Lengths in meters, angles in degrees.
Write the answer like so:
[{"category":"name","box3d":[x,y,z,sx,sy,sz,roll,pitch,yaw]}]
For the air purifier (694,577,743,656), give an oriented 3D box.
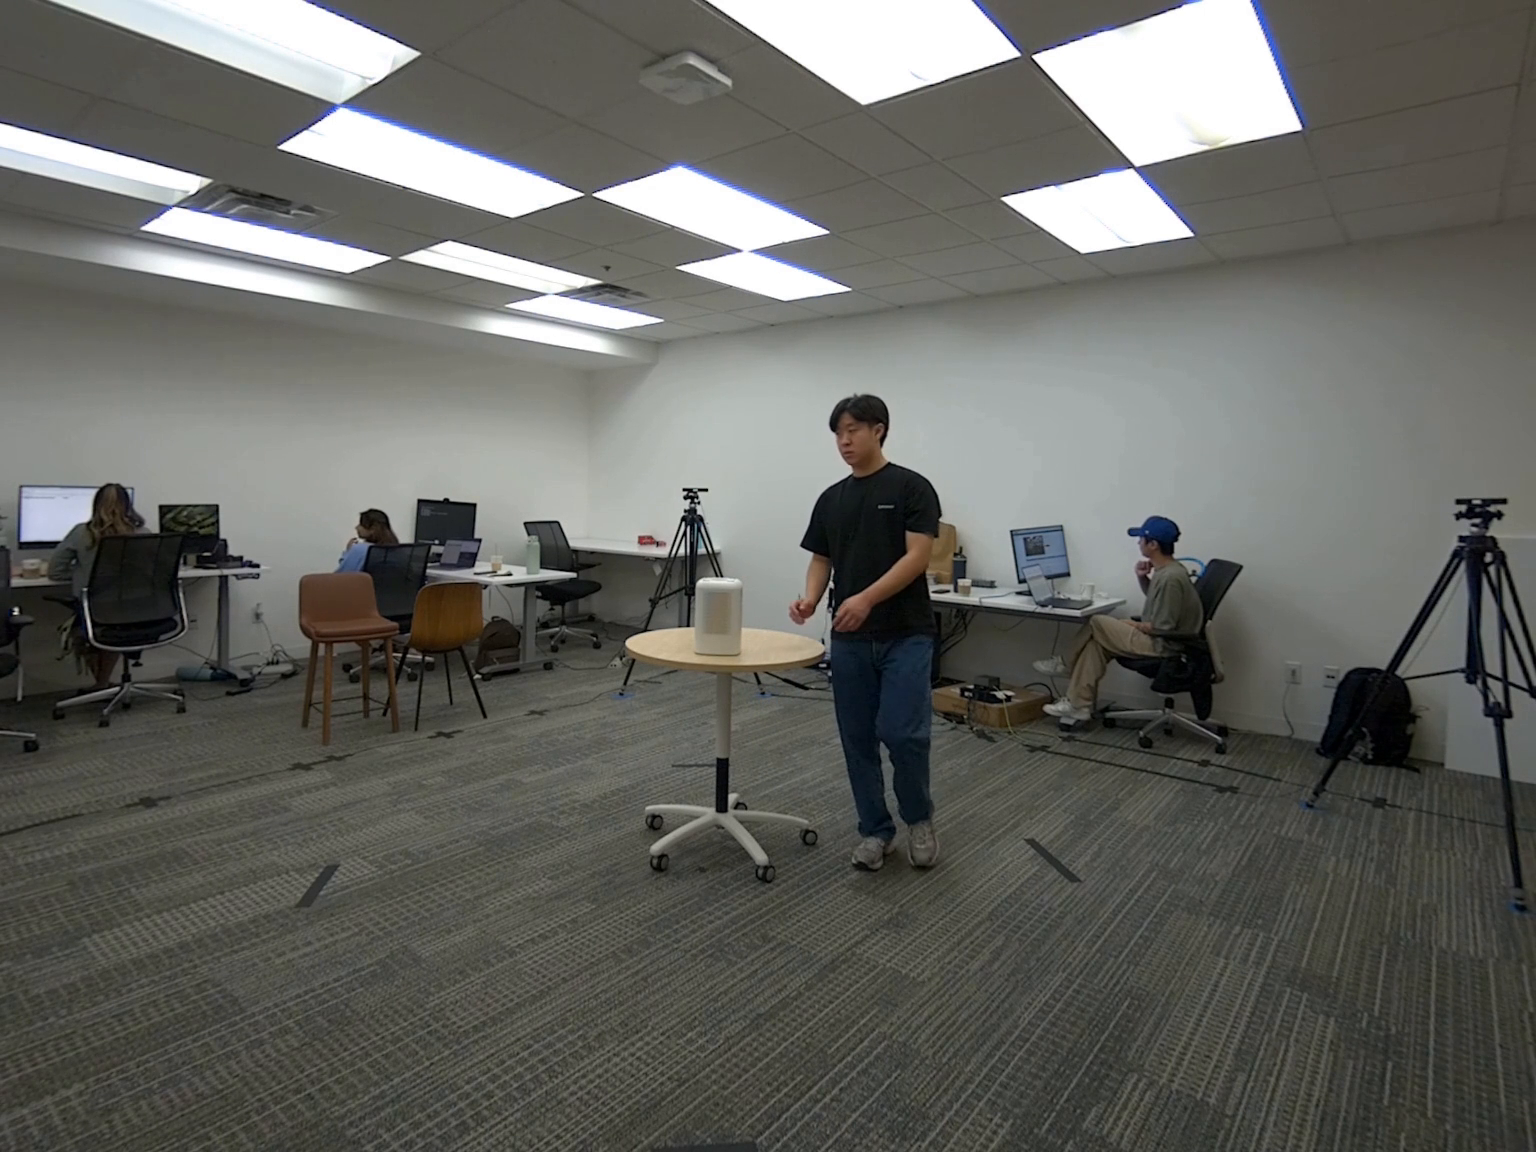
[{"category":"air purifier","box3d":[-0.192,0.142,3.130,0.172,0.264,0.171,1,3,-1]}]
